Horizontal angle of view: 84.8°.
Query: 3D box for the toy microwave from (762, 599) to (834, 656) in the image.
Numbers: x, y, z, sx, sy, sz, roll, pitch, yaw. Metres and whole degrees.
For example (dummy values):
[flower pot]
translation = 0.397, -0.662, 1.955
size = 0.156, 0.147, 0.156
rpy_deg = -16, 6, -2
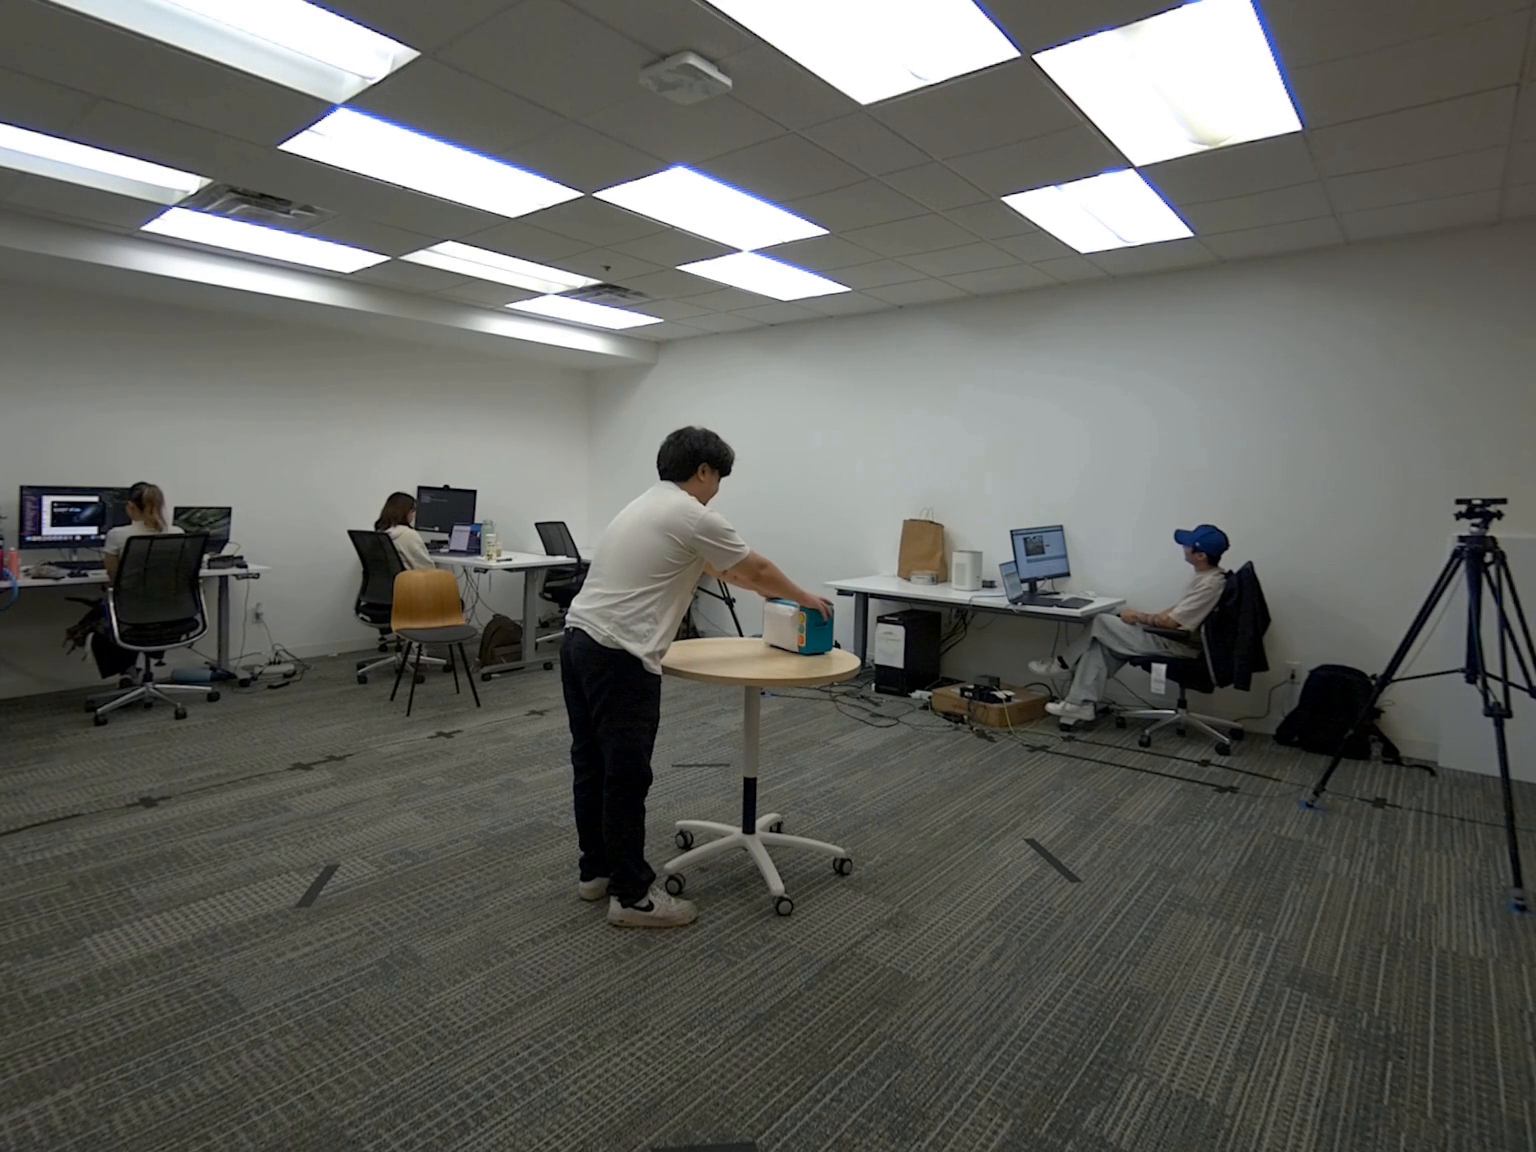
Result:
[toy microwave]
translation = 0.097, 0.183, 3.219
size = 0.148, 0.183, 0.296
rpy_deg = -1, 6, -35
